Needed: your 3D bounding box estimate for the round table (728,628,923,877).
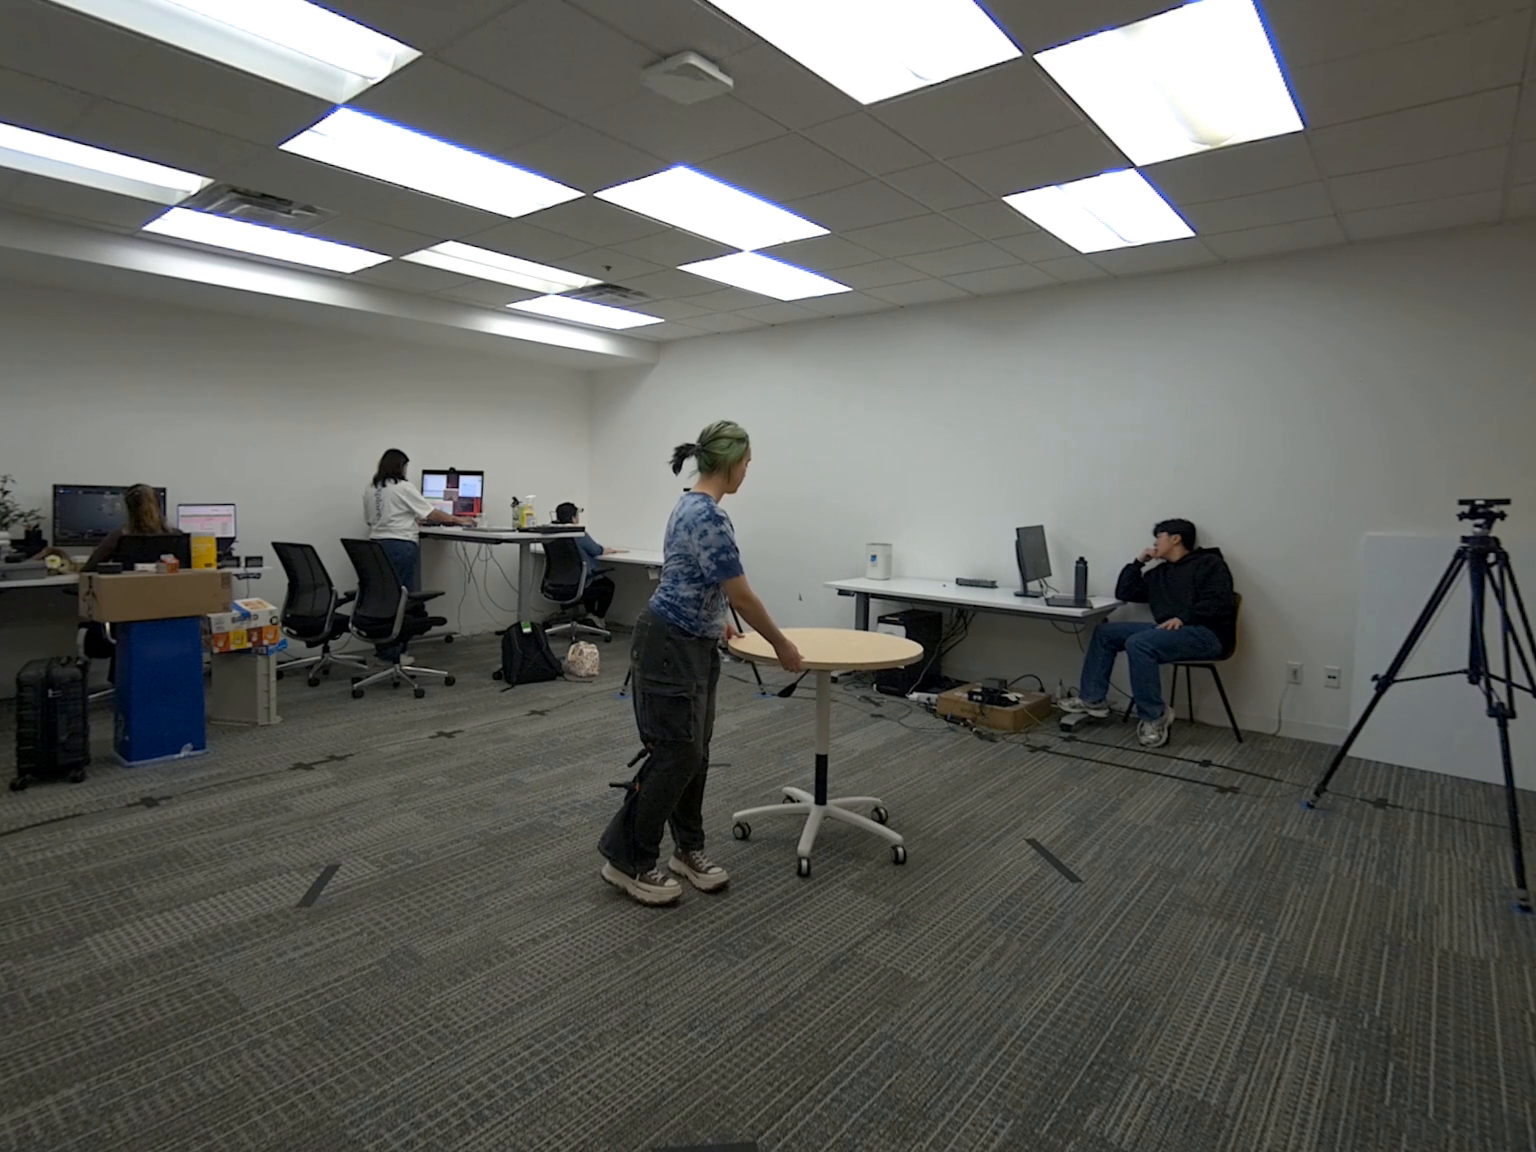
[{"bbox_3d":[0.201,0.659,3.394,0.763,0.792,0.767,1,4,-2],"label":"round table"}]
